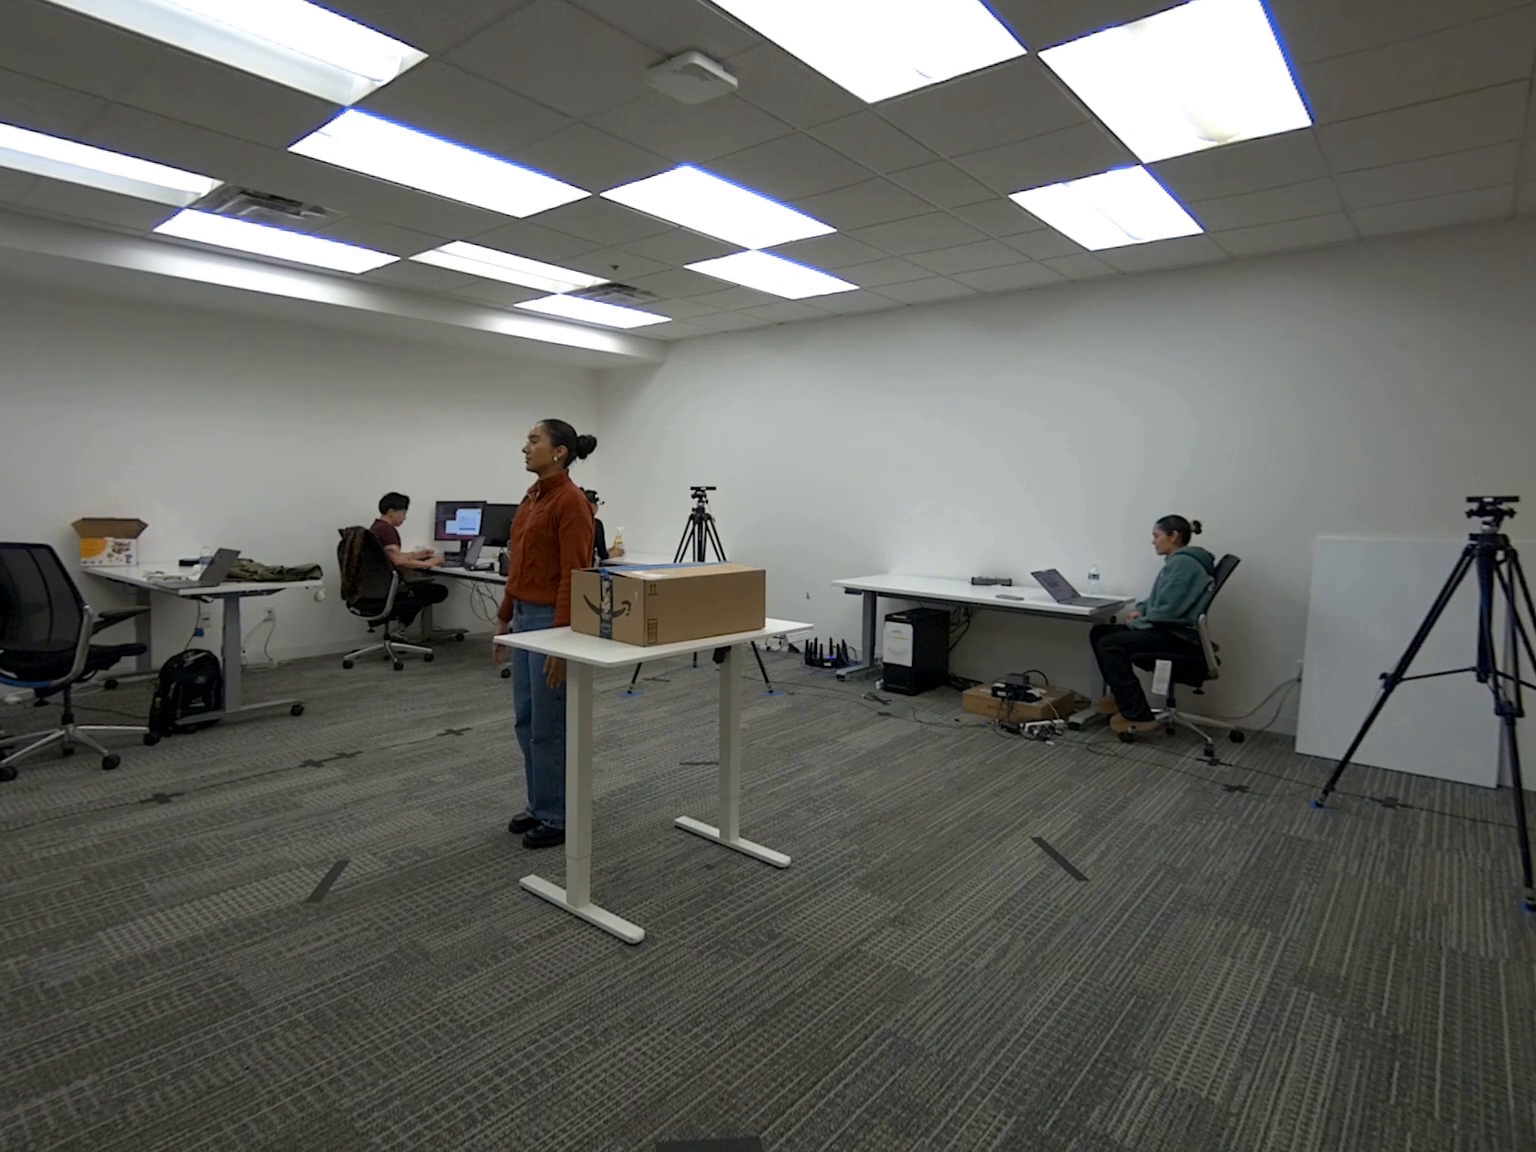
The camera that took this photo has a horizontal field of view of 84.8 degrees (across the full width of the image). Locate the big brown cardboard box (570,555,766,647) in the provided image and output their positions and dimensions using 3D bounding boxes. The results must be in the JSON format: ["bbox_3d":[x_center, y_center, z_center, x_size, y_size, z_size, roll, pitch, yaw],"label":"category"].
[{"bbox_3d":[-0.355,0.082,3.006,0.571,0.232,0.432,-3,6,-44],"label":"big brown cardboard box"}]
